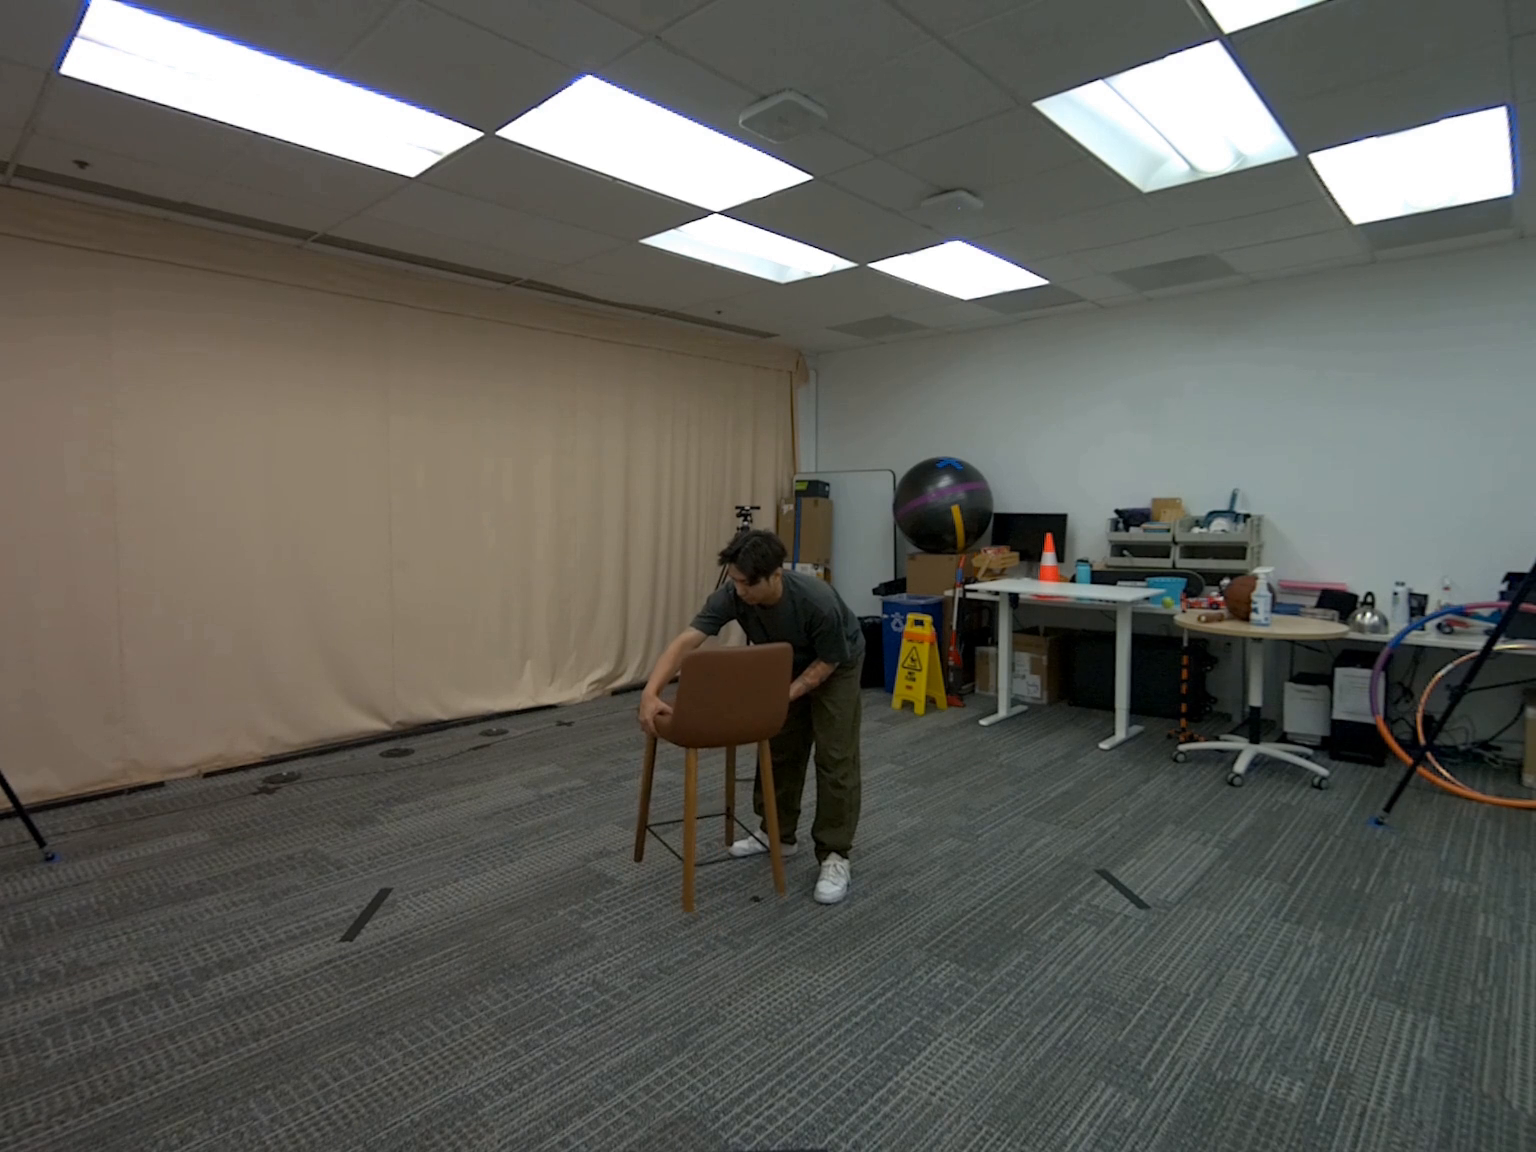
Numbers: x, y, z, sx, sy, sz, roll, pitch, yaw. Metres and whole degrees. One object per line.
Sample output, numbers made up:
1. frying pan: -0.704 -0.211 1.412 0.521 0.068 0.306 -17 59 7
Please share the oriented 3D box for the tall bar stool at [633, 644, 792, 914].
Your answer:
1. tall bar stool: -0.200 0.644 2.975 0.445 0.887 0.481 0 5 -28
